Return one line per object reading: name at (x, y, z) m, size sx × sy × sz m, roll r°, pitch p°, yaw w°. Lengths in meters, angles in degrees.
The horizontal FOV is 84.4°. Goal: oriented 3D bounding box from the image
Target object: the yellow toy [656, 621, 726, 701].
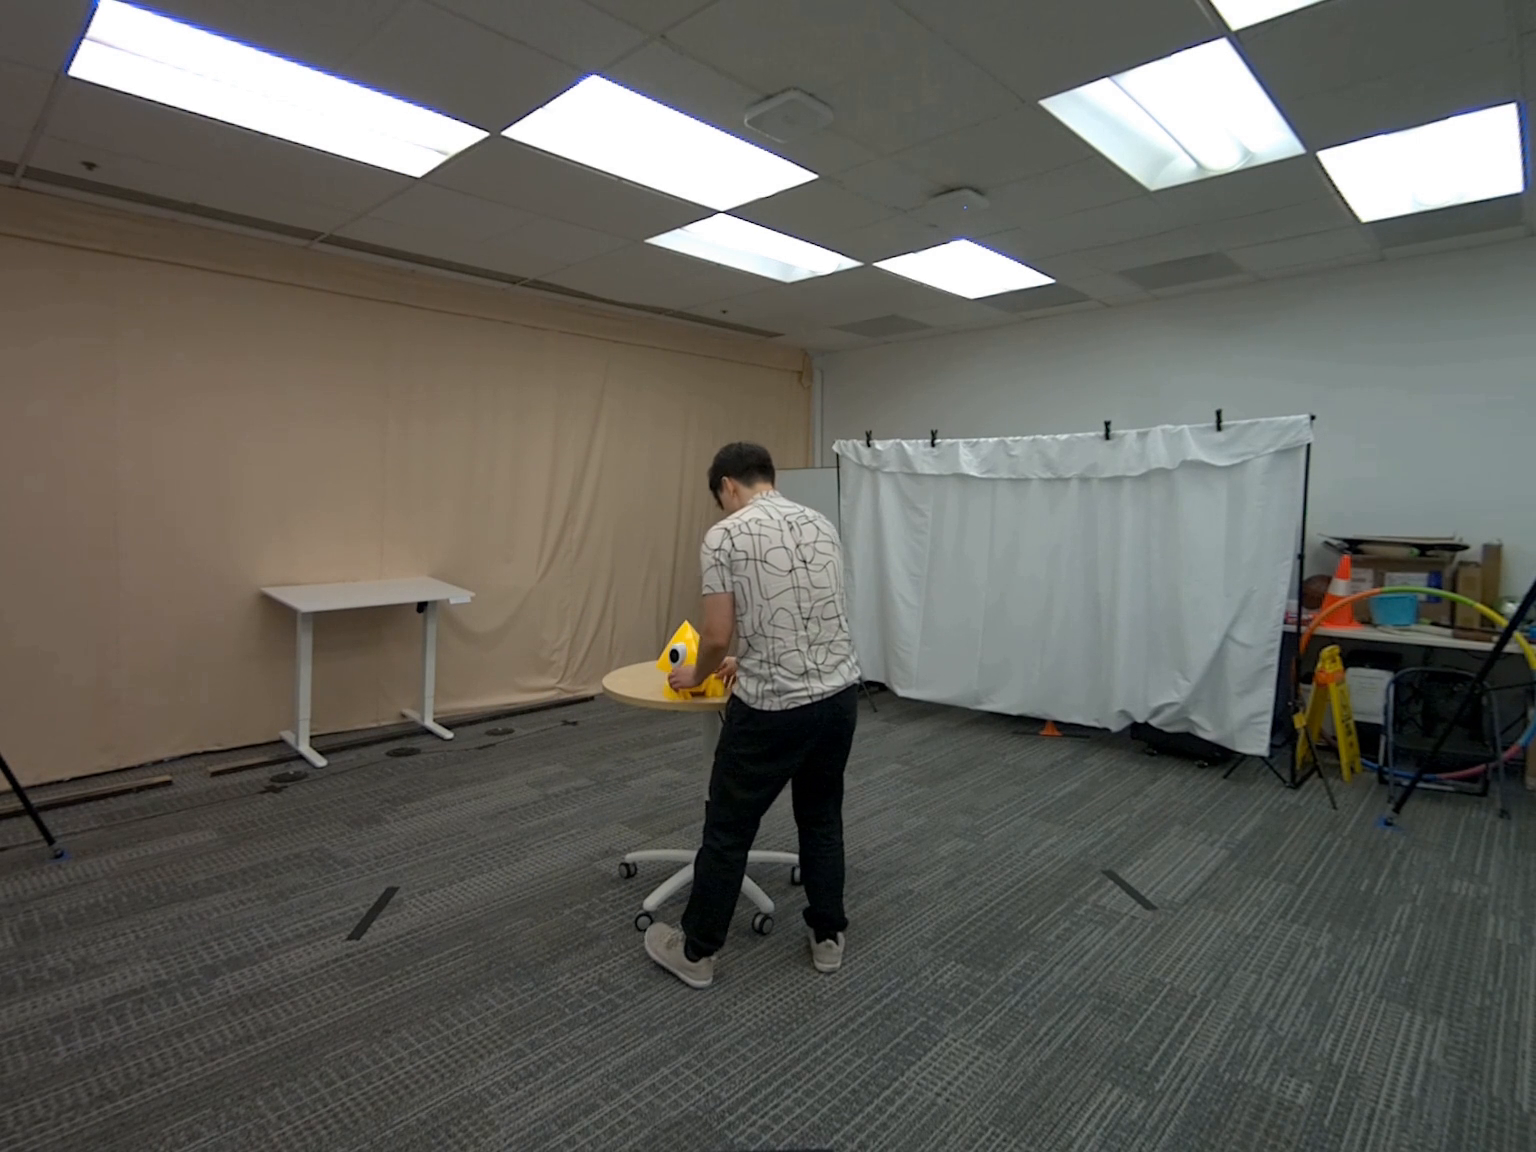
yellow toy at (-0.241, 0.271, 2.744) m, size 0.201 × 0.230 × 0.197 m, roll -2°, pitch 5°, yaw -21°
